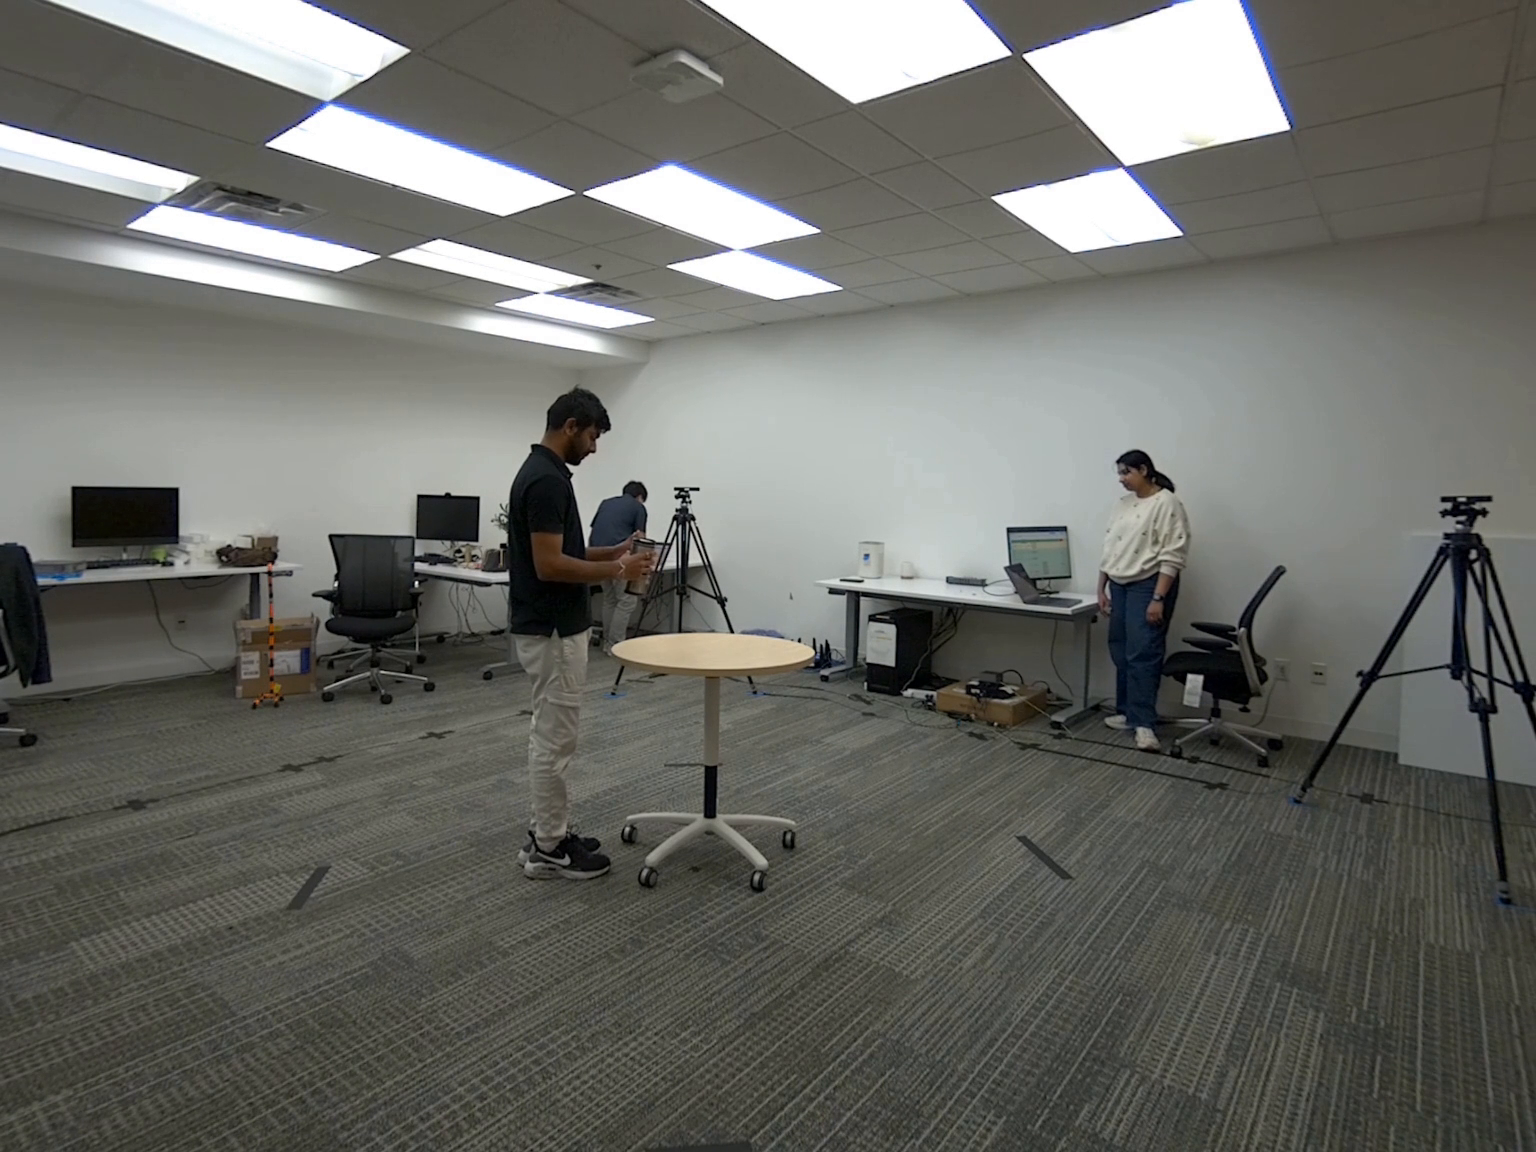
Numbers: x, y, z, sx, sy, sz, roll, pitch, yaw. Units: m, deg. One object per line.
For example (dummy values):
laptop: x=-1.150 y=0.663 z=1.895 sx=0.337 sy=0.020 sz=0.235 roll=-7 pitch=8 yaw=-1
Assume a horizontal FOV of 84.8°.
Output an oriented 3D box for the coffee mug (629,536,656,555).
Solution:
coffee mug: x=-0.472 y=-0.031 z=3.077 sx=0.090 sy=0.202 sz=0.120 roll=7 pitch=7 yaw=17
